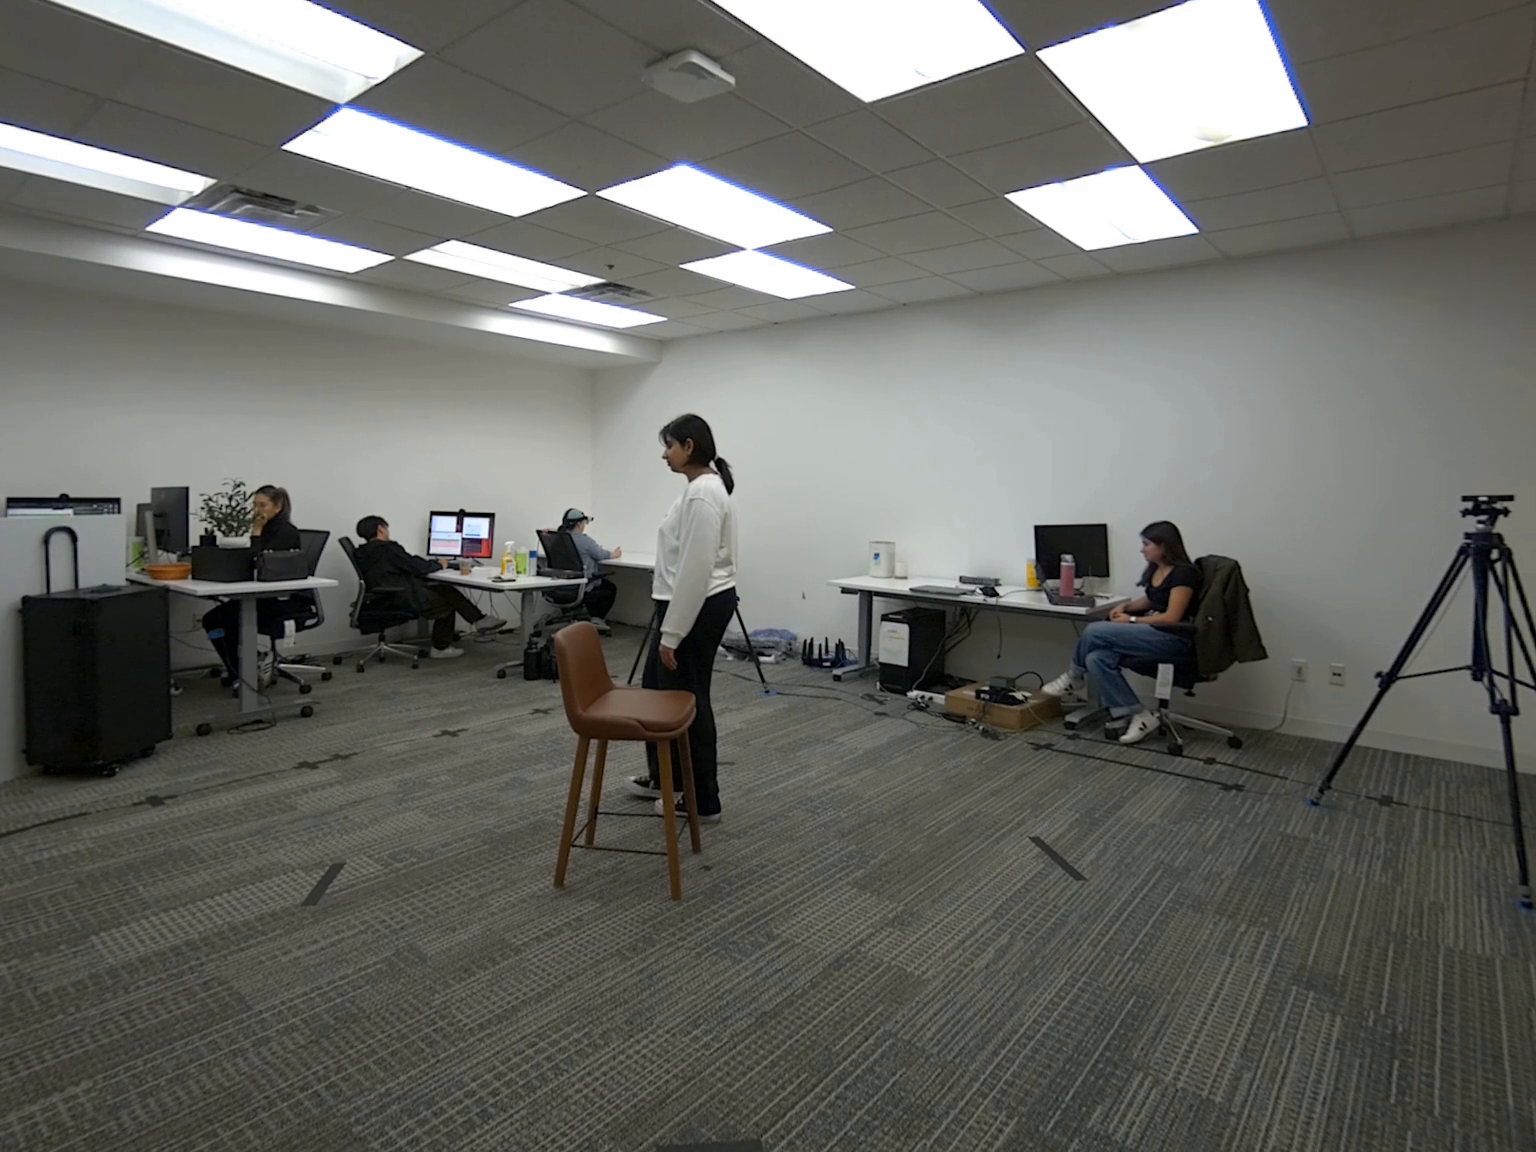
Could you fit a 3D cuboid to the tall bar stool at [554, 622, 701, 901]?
[{"bbox_3d":[-0.501,0.632,3.066,0.473,0.887,0.453,0,3,9],"label":"tall bar stool"}]
